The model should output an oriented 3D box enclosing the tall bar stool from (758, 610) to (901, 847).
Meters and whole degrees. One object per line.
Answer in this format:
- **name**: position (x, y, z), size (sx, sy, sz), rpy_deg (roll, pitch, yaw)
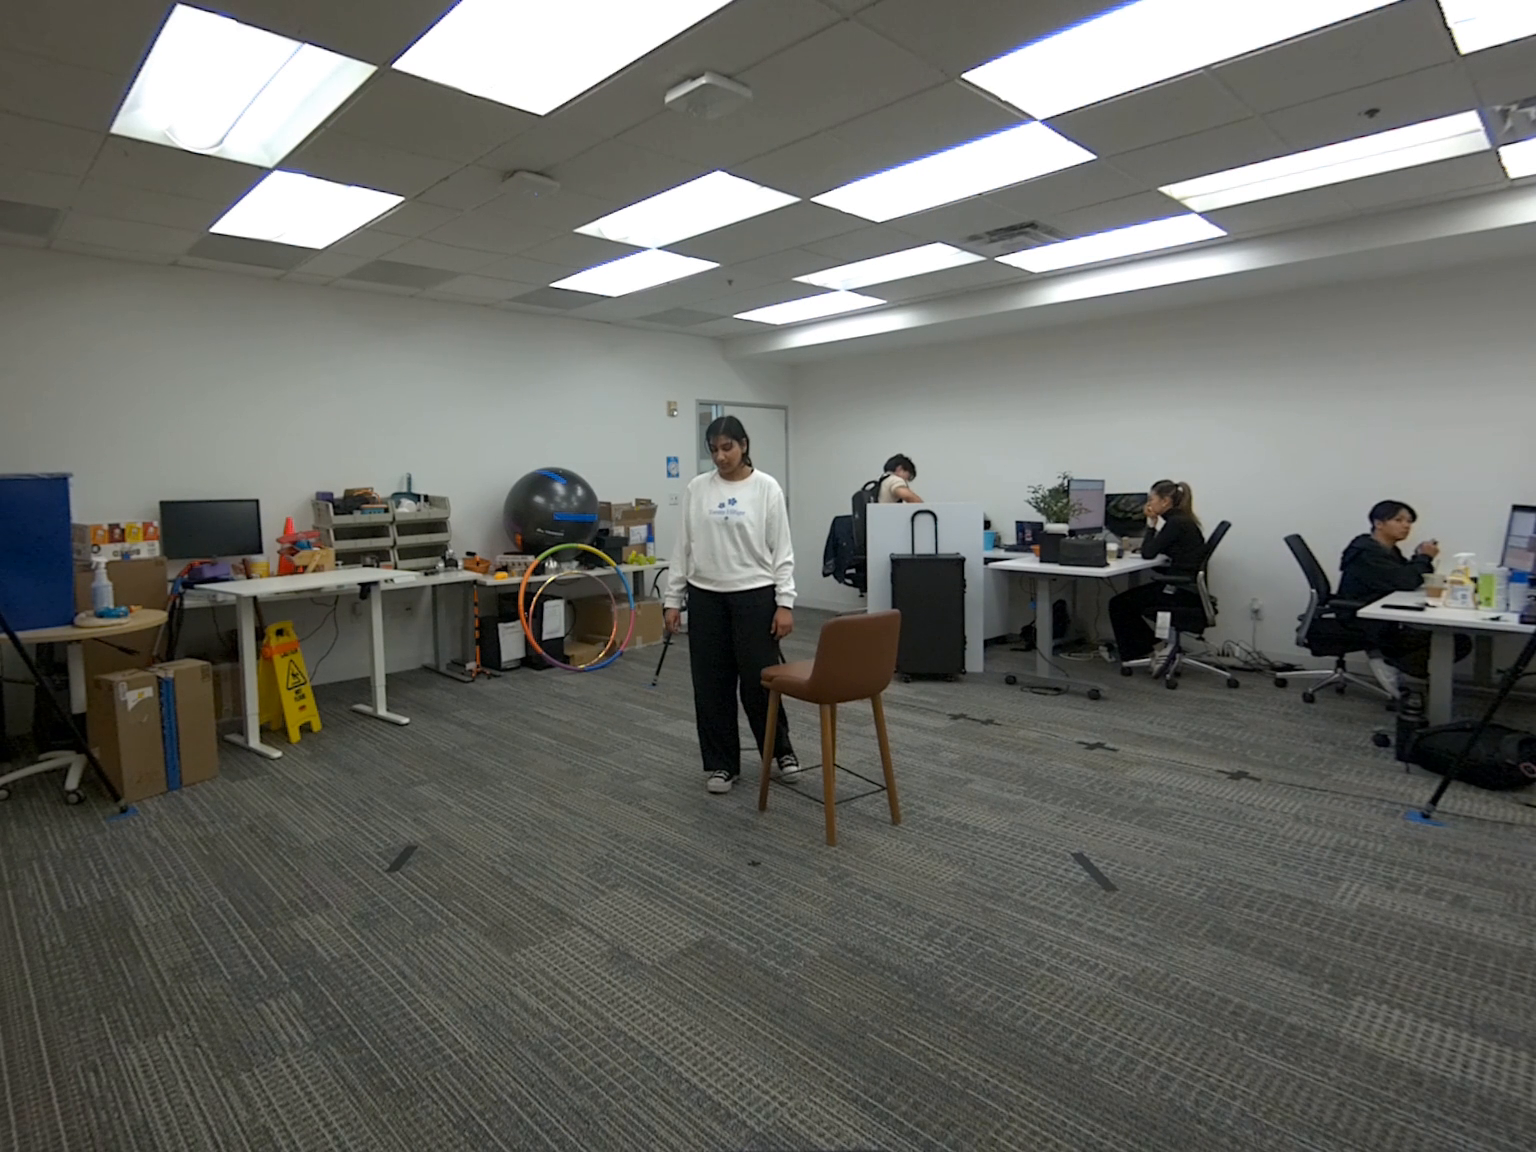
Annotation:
- **tall bar stool**: position (0.249, 0.555, 3.510), size (0.445, 0.886, 0.482), rpy_deg (-3, 6, -35)
